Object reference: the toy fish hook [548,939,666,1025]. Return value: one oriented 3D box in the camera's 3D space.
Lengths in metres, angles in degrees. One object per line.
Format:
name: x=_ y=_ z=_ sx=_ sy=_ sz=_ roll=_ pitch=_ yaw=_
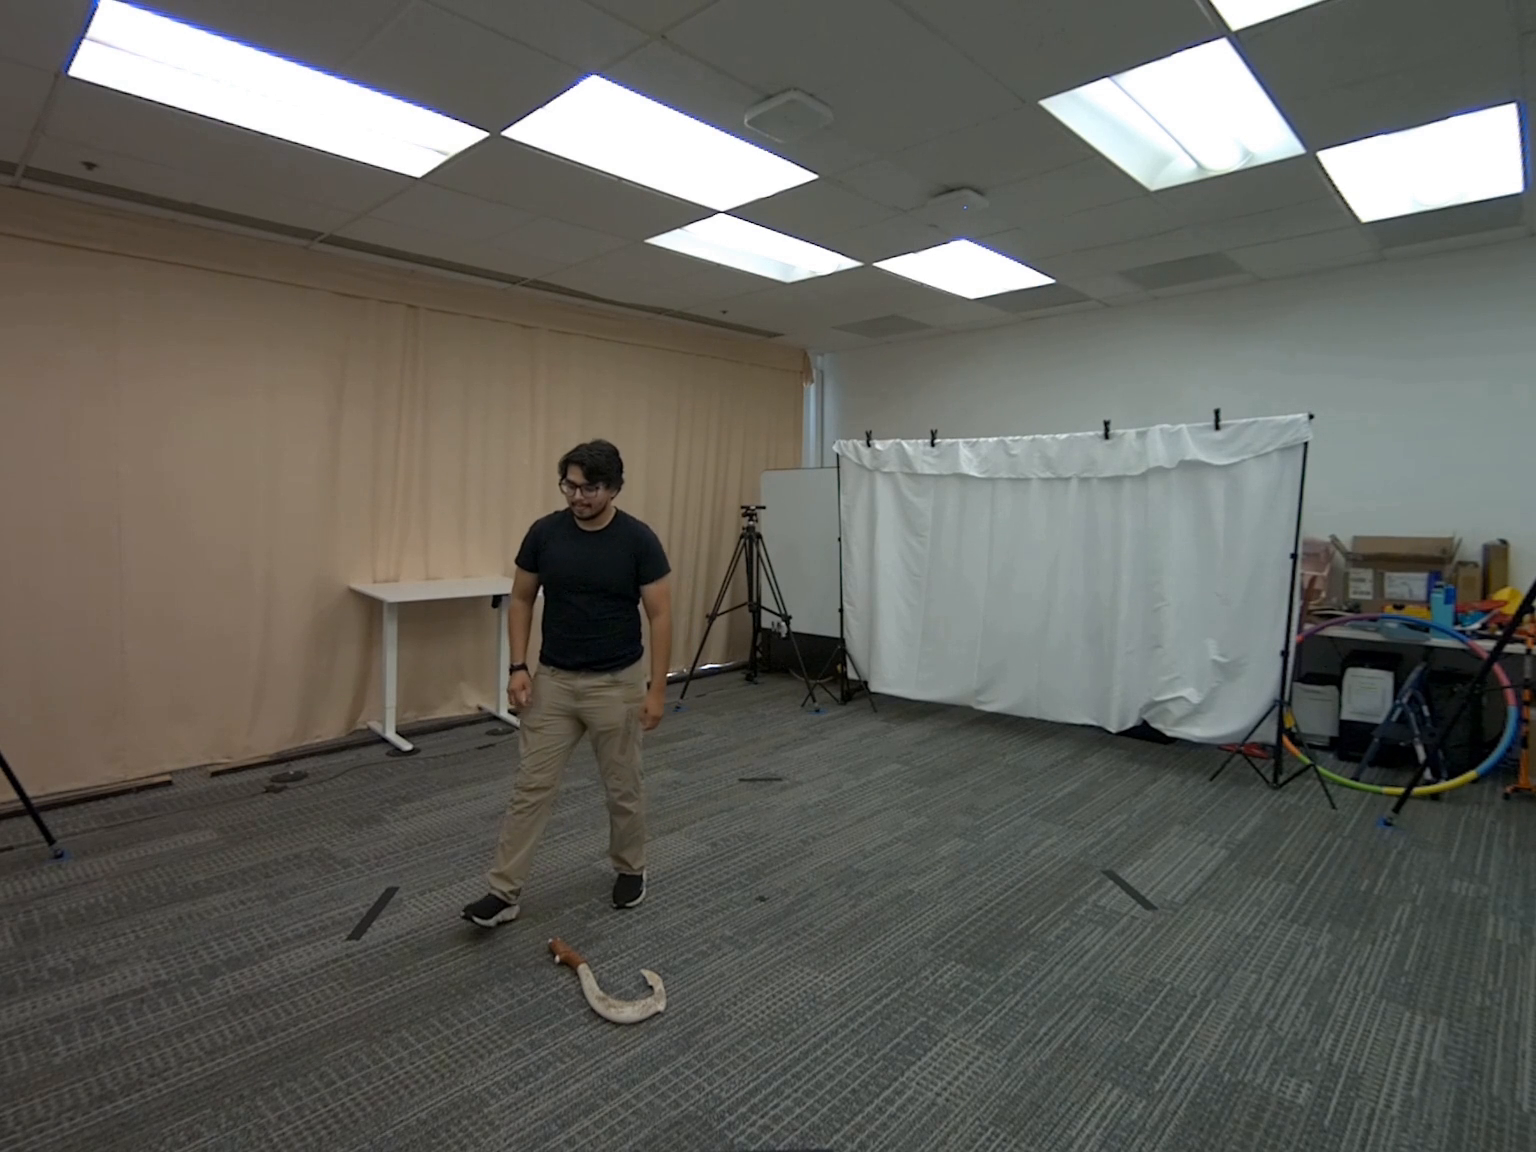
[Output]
toy fish hook: x=-0.479 y=1.175 z=2.475 sx=0.217 sy=0.048 sz=0.523 roll=5 pitch=1 yaw=-39
